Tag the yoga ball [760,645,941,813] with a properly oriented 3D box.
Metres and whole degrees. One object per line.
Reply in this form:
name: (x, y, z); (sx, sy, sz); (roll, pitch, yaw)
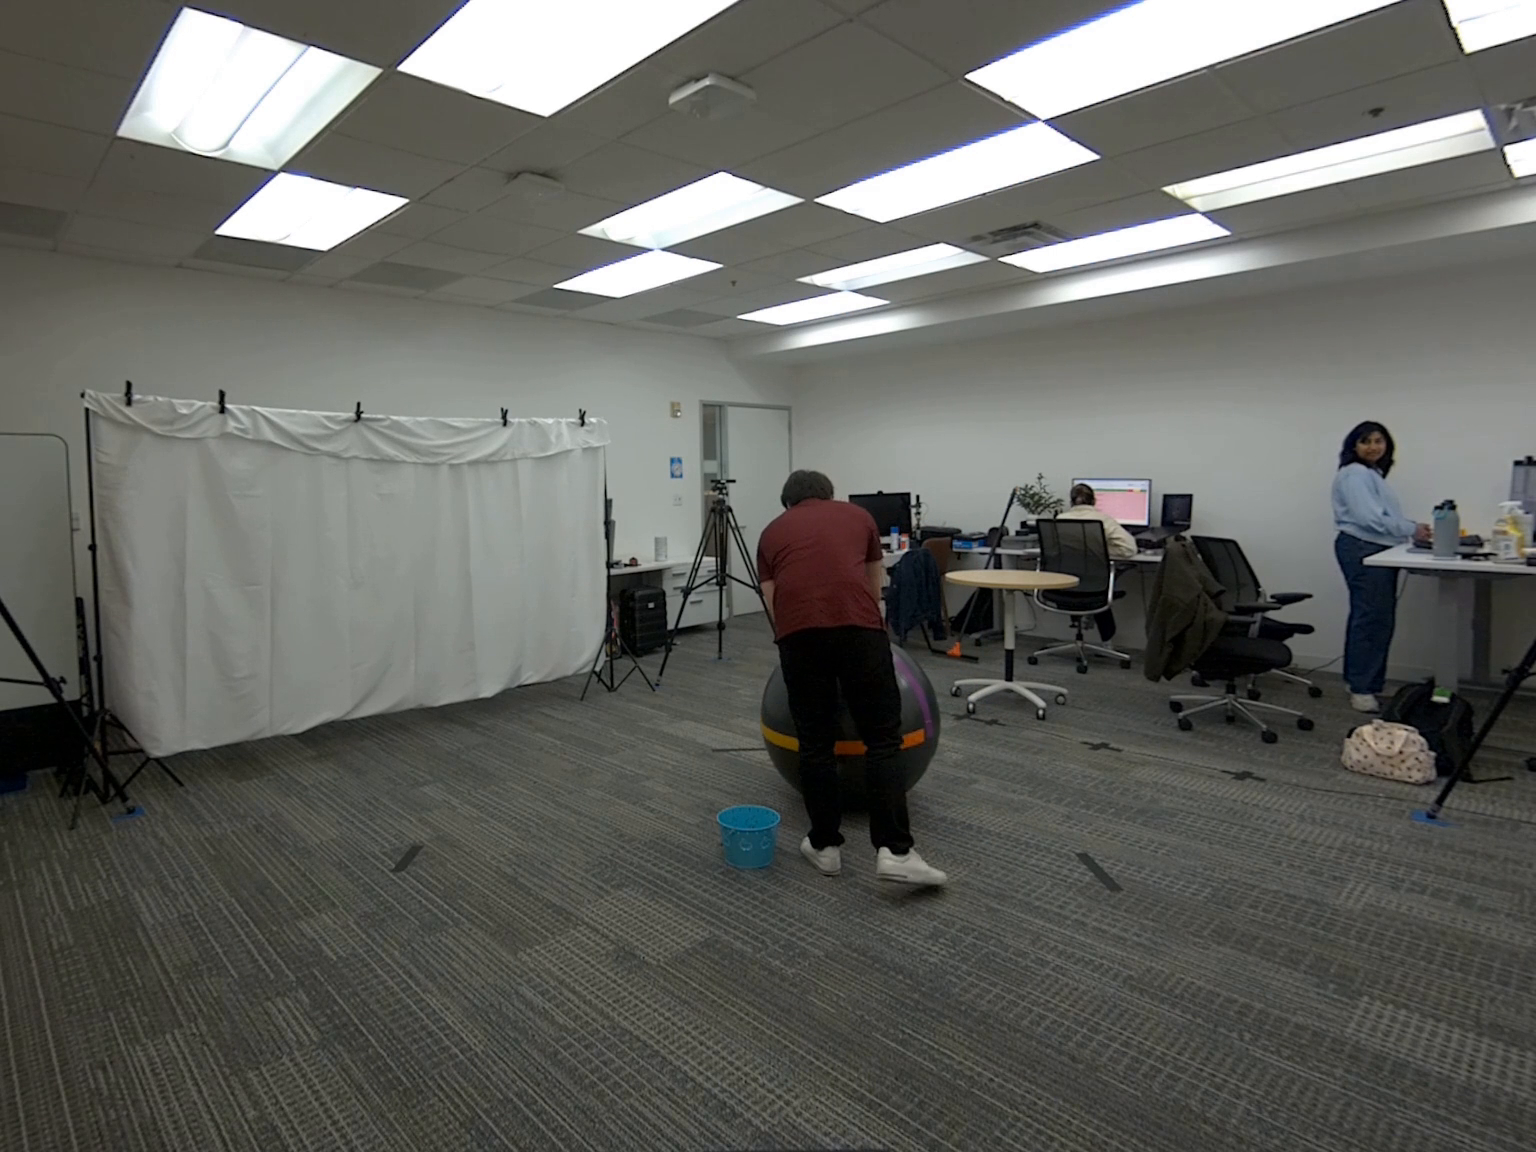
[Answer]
yoga ball: (0.352, 0.619, 3.676); (0.757, 0.755, 0.762); (-1, 5, -2)
